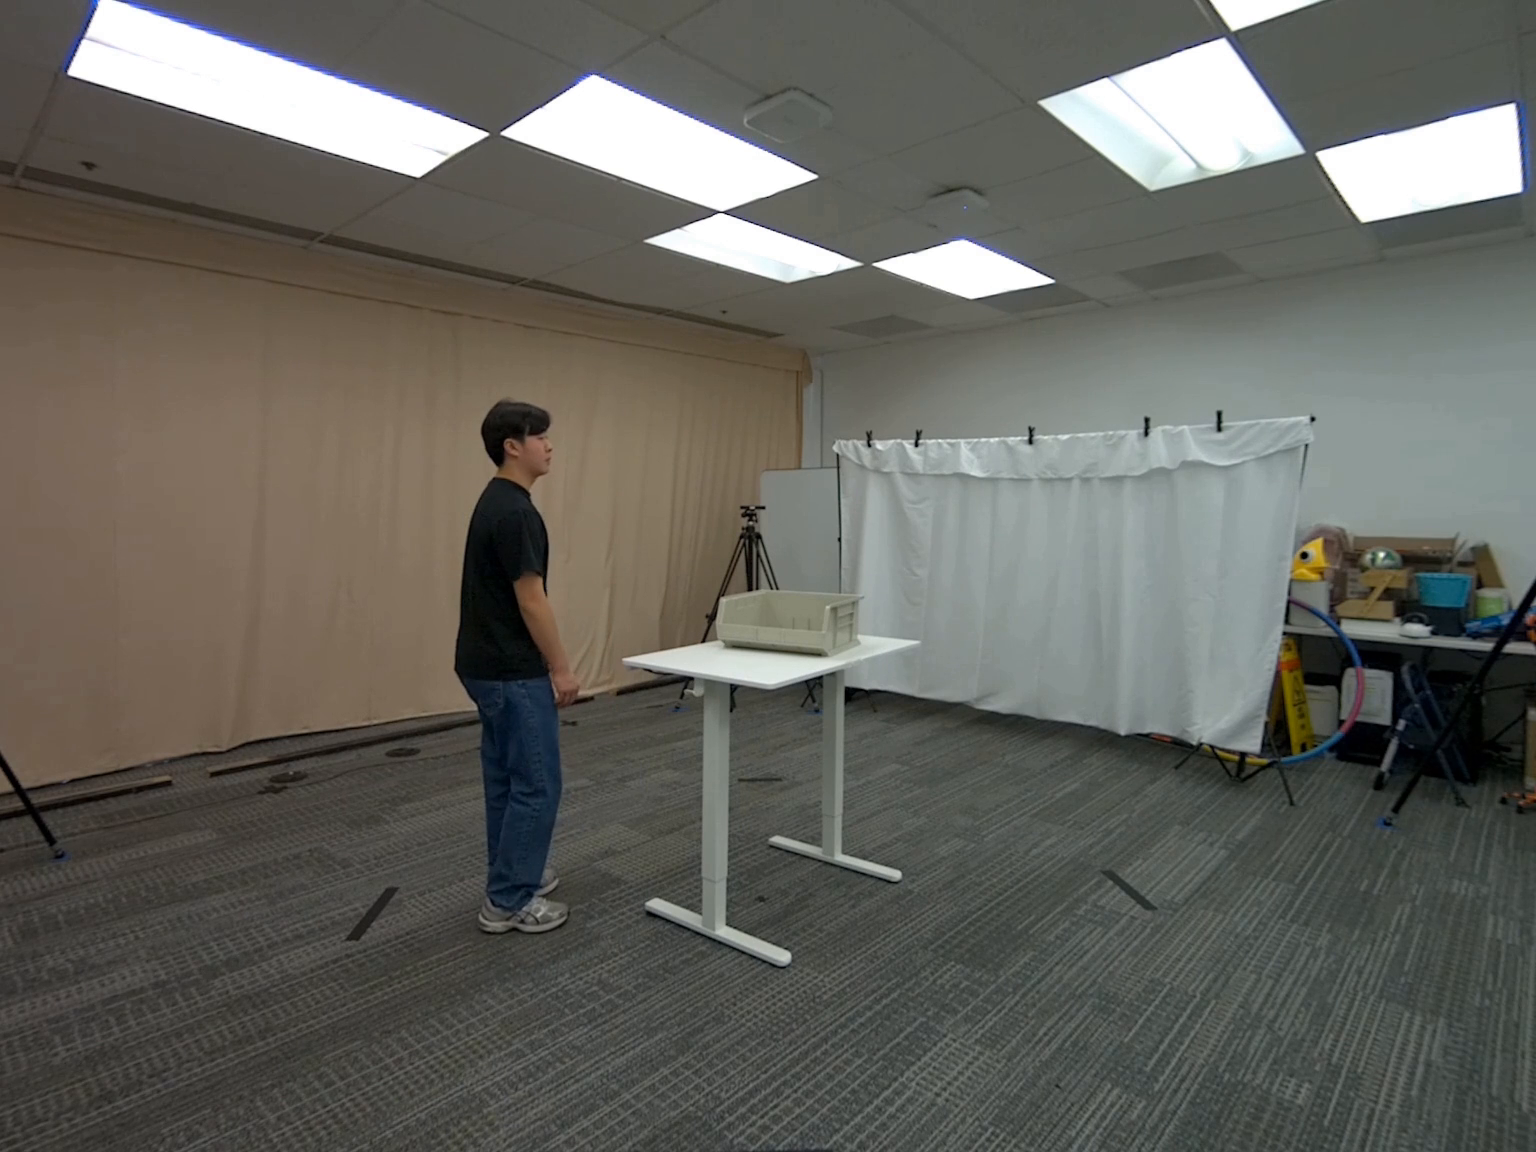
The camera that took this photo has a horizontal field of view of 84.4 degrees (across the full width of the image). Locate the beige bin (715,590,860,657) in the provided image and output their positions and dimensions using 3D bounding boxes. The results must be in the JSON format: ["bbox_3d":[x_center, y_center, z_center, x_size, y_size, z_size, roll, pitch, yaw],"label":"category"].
[{"bbox_3d":[0.089,0.170,3.046,0.434,0.189,0.368,2,4,27],"label":"beige bin"}]
